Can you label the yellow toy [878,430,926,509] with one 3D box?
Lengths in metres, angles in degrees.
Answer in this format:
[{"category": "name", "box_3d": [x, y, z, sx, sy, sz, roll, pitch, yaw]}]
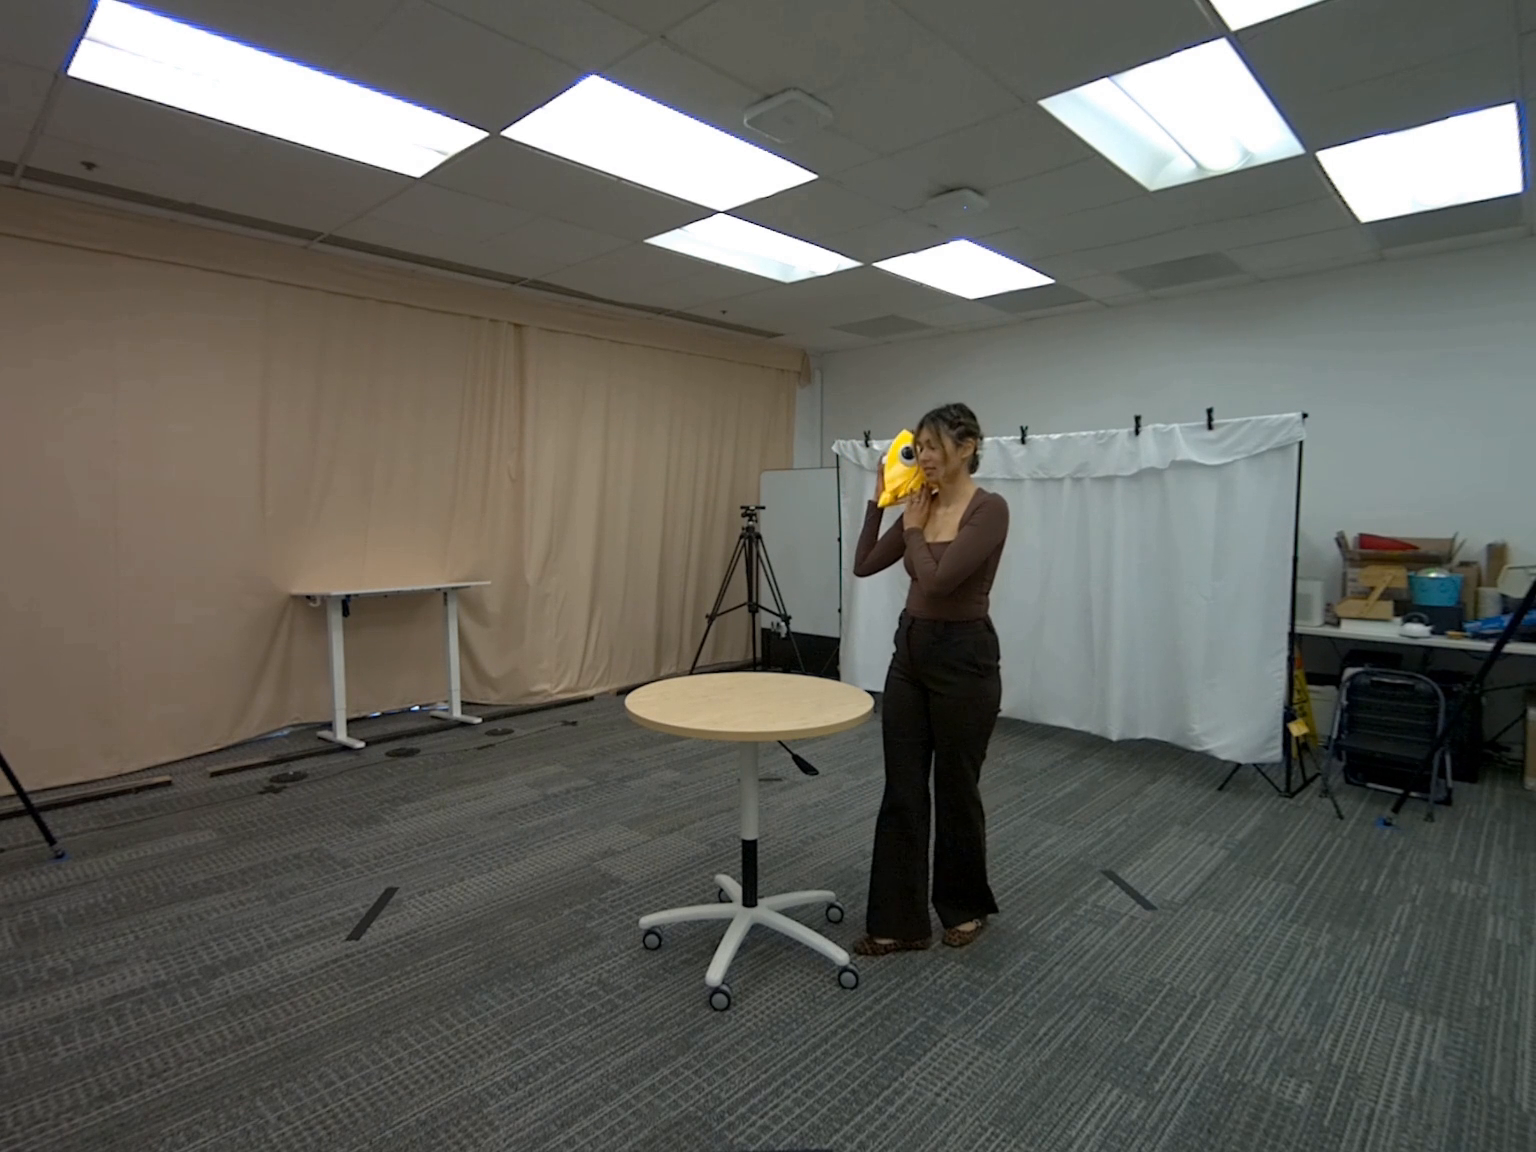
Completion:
[{"category": "yellow toy", "box_3d": [0.448, -0.373, 2.782, 0.188, 0.232, 0.208, -12, -8, -29]}]
